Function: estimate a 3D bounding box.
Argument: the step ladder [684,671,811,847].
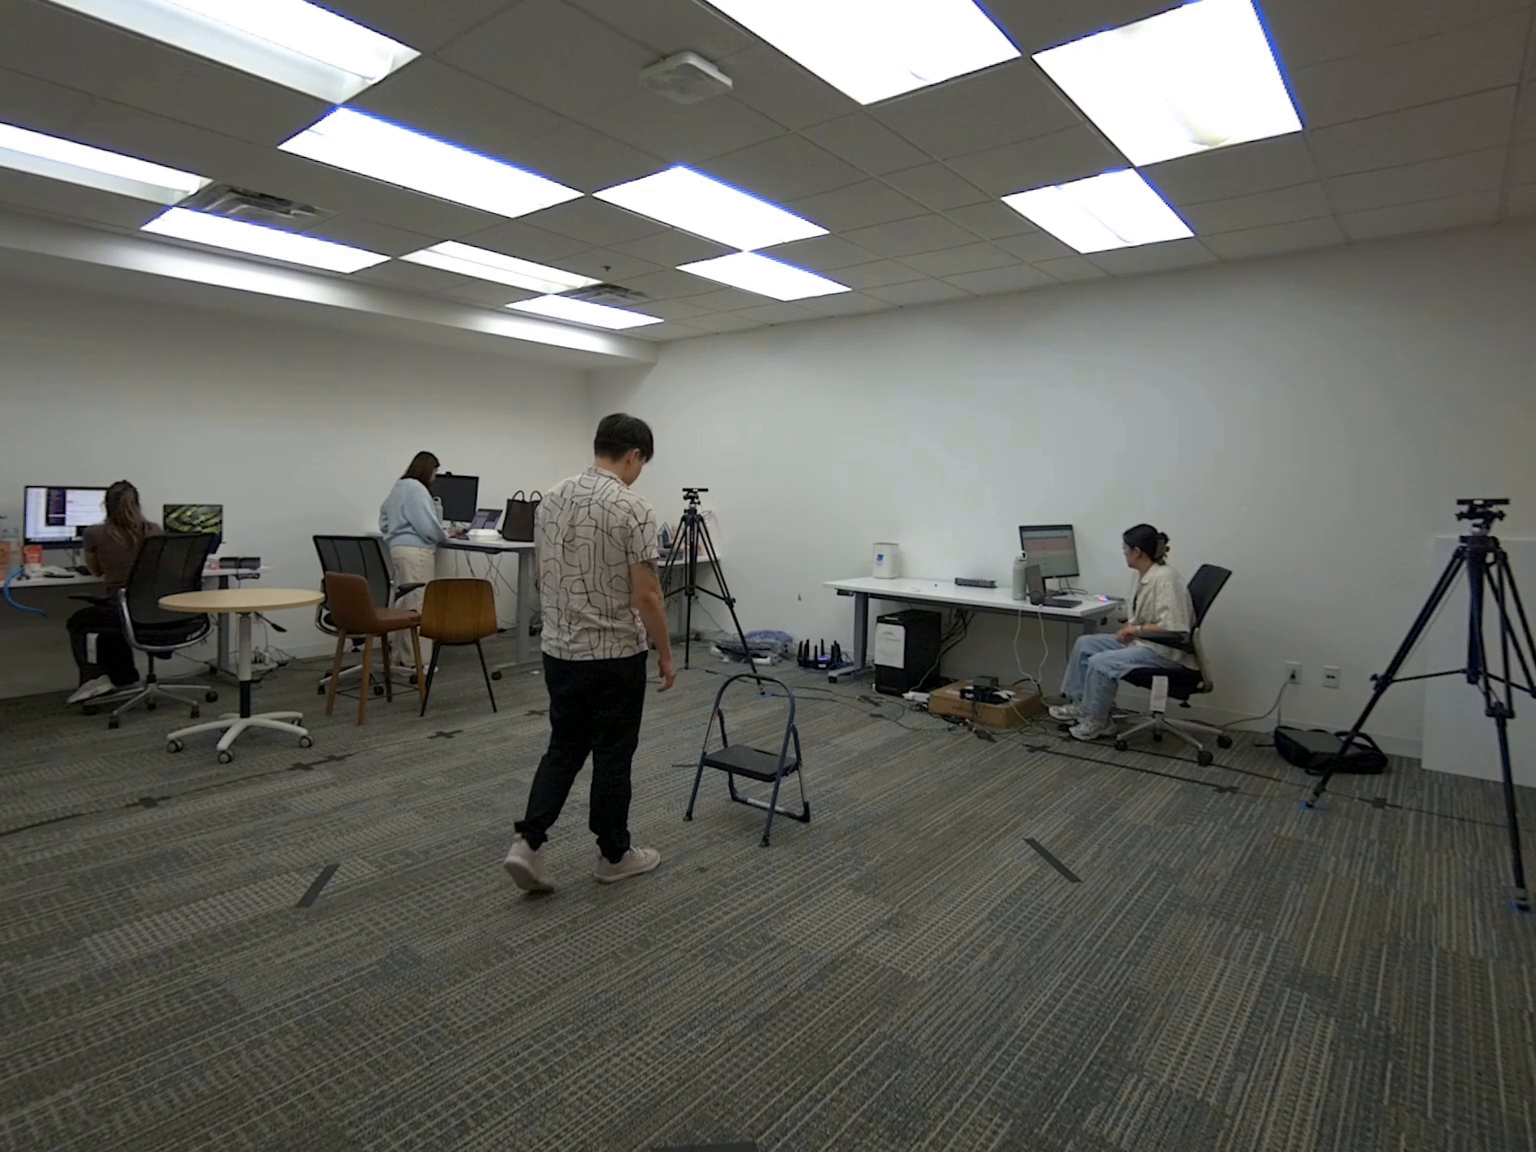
[{"bbox_3d":[-0.087,0.725,3.566,0.444,0.604,0.339,4,4,36],"label":"step ladder"}]
